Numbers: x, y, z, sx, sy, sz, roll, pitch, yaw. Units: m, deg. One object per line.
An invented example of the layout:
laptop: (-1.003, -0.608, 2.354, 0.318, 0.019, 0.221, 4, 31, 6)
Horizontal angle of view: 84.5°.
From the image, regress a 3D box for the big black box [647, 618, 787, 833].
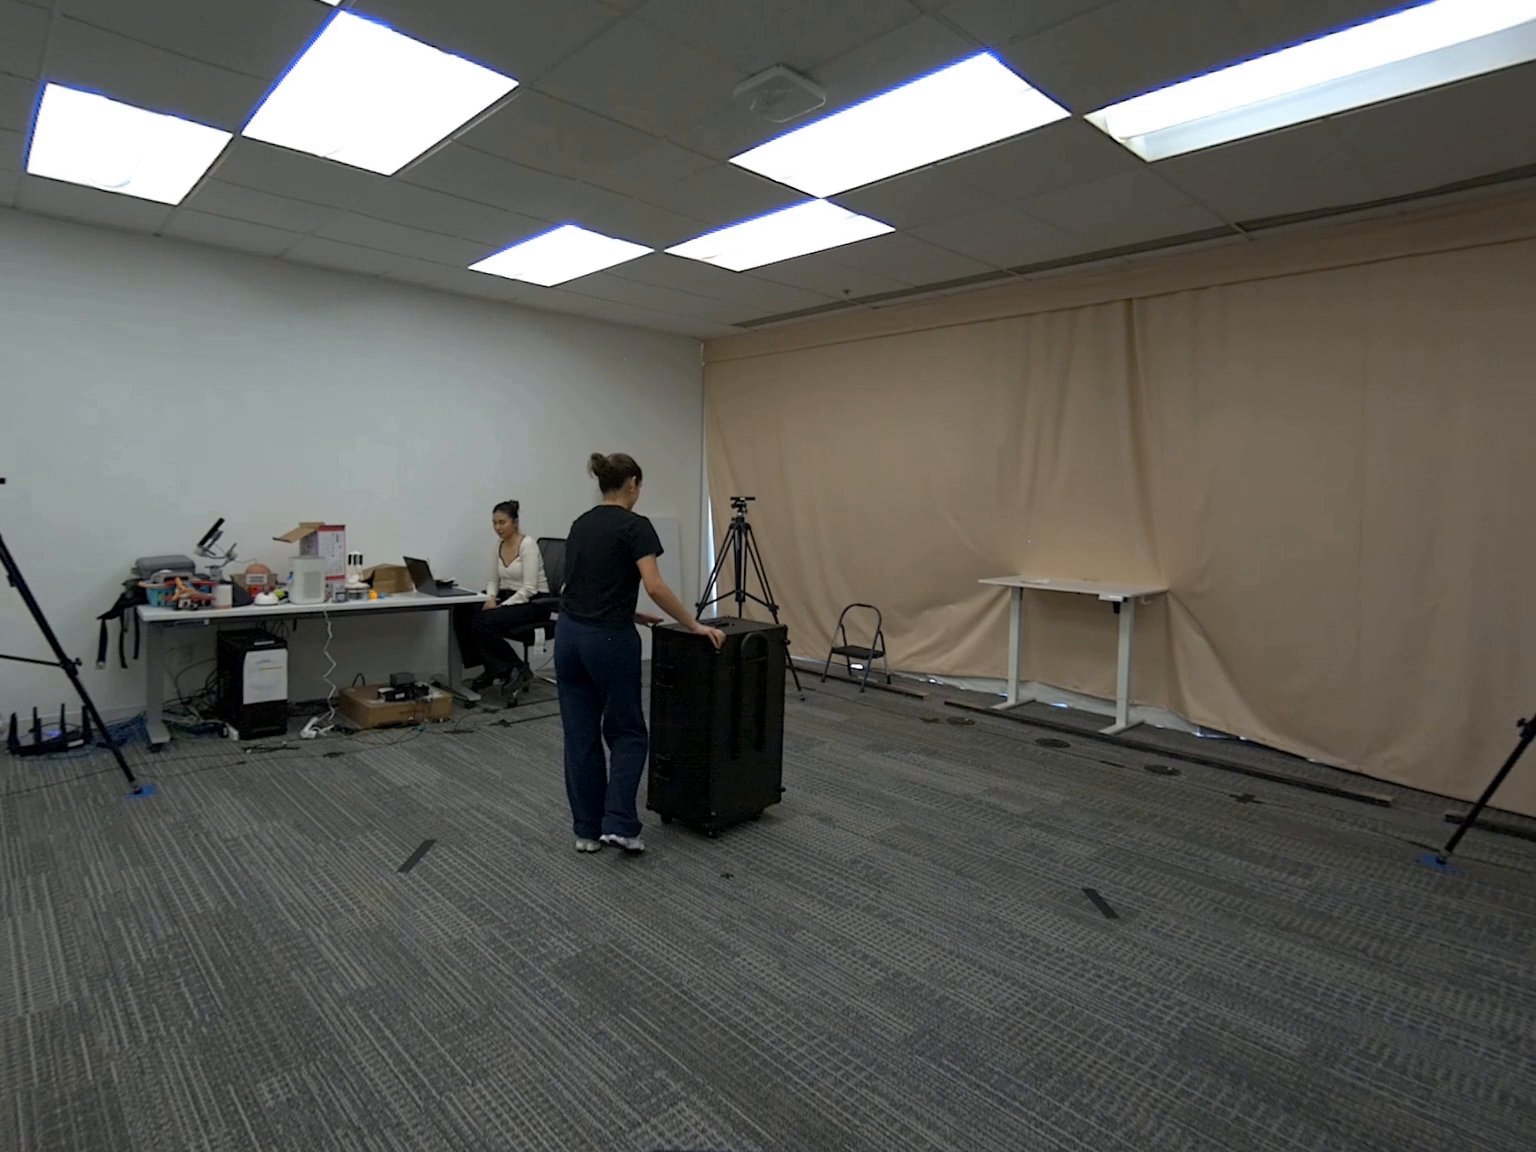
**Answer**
big black box: (-0.208, 0.640, 3.598, 0.406, 0.858, 0.510, 6, 6, 39)
